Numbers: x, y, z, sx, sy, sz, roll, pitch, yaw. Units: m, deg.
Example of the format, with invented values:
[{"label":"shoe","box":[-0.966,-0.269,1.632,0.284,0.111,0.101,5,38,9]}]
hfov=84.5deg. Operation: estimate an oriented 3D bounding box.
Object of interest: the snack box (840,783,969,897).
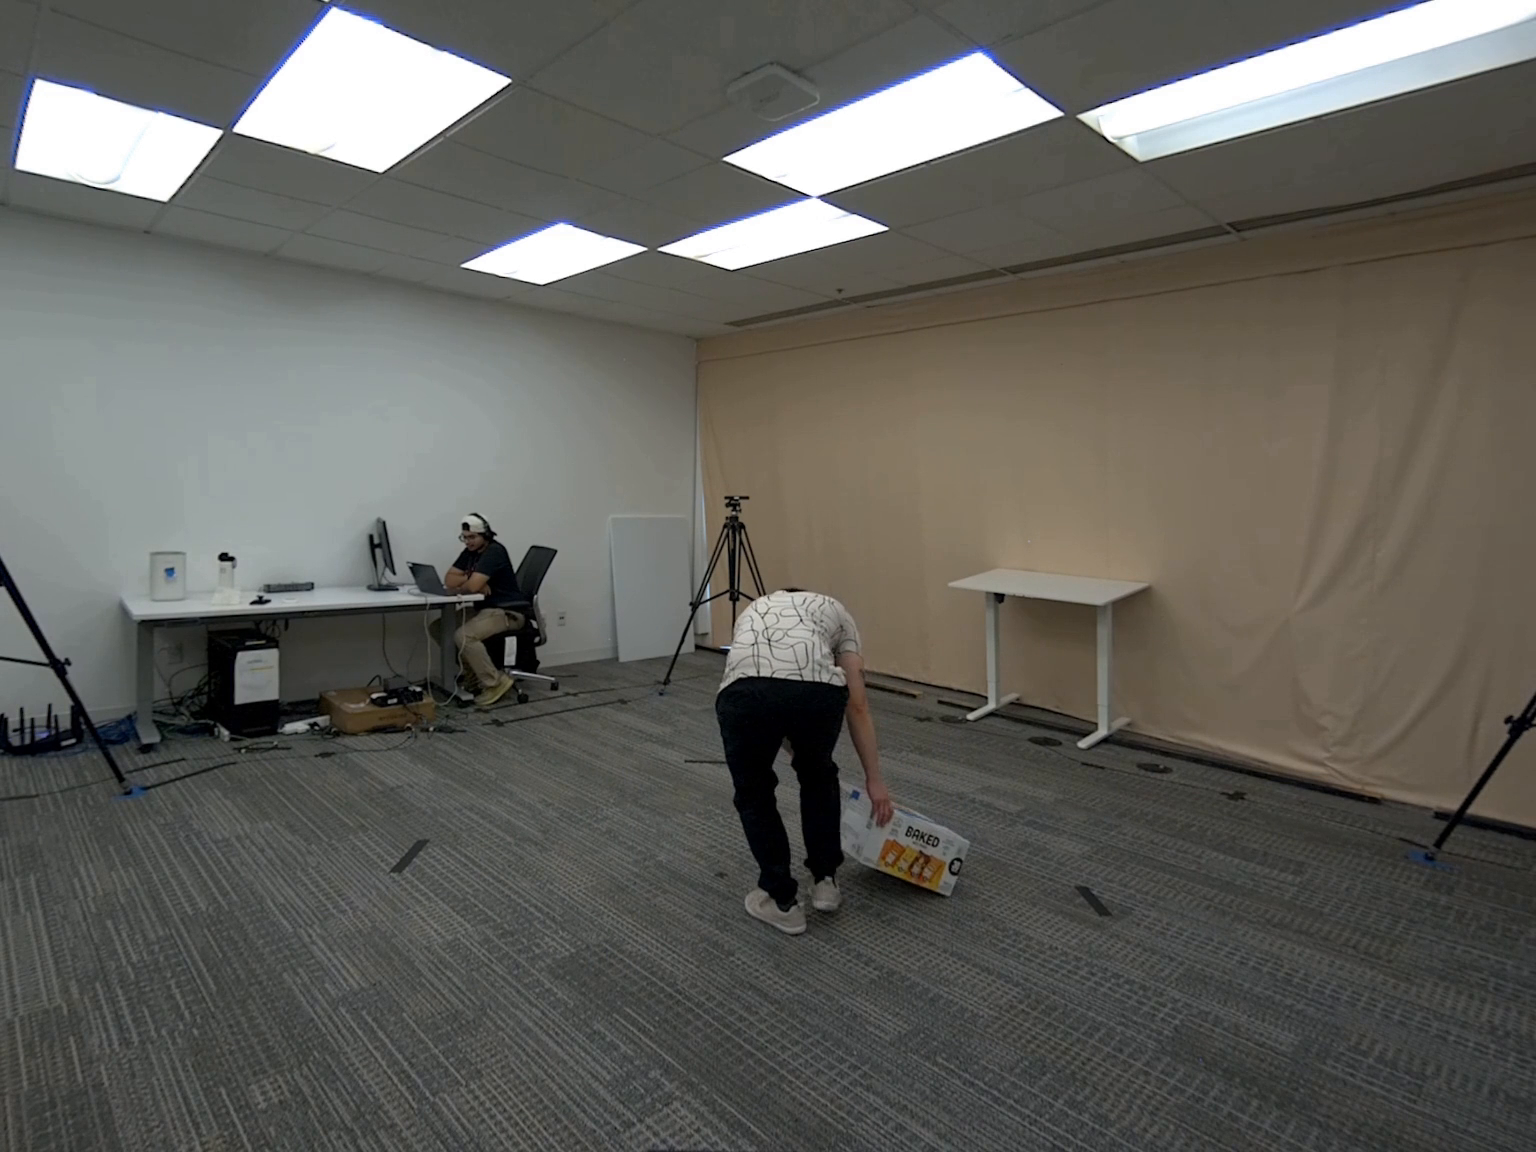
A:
[{"label":"snack box","box":[0.441,0.945,3.057,0.397,0.206,0.346,26,-7,-21]}]
